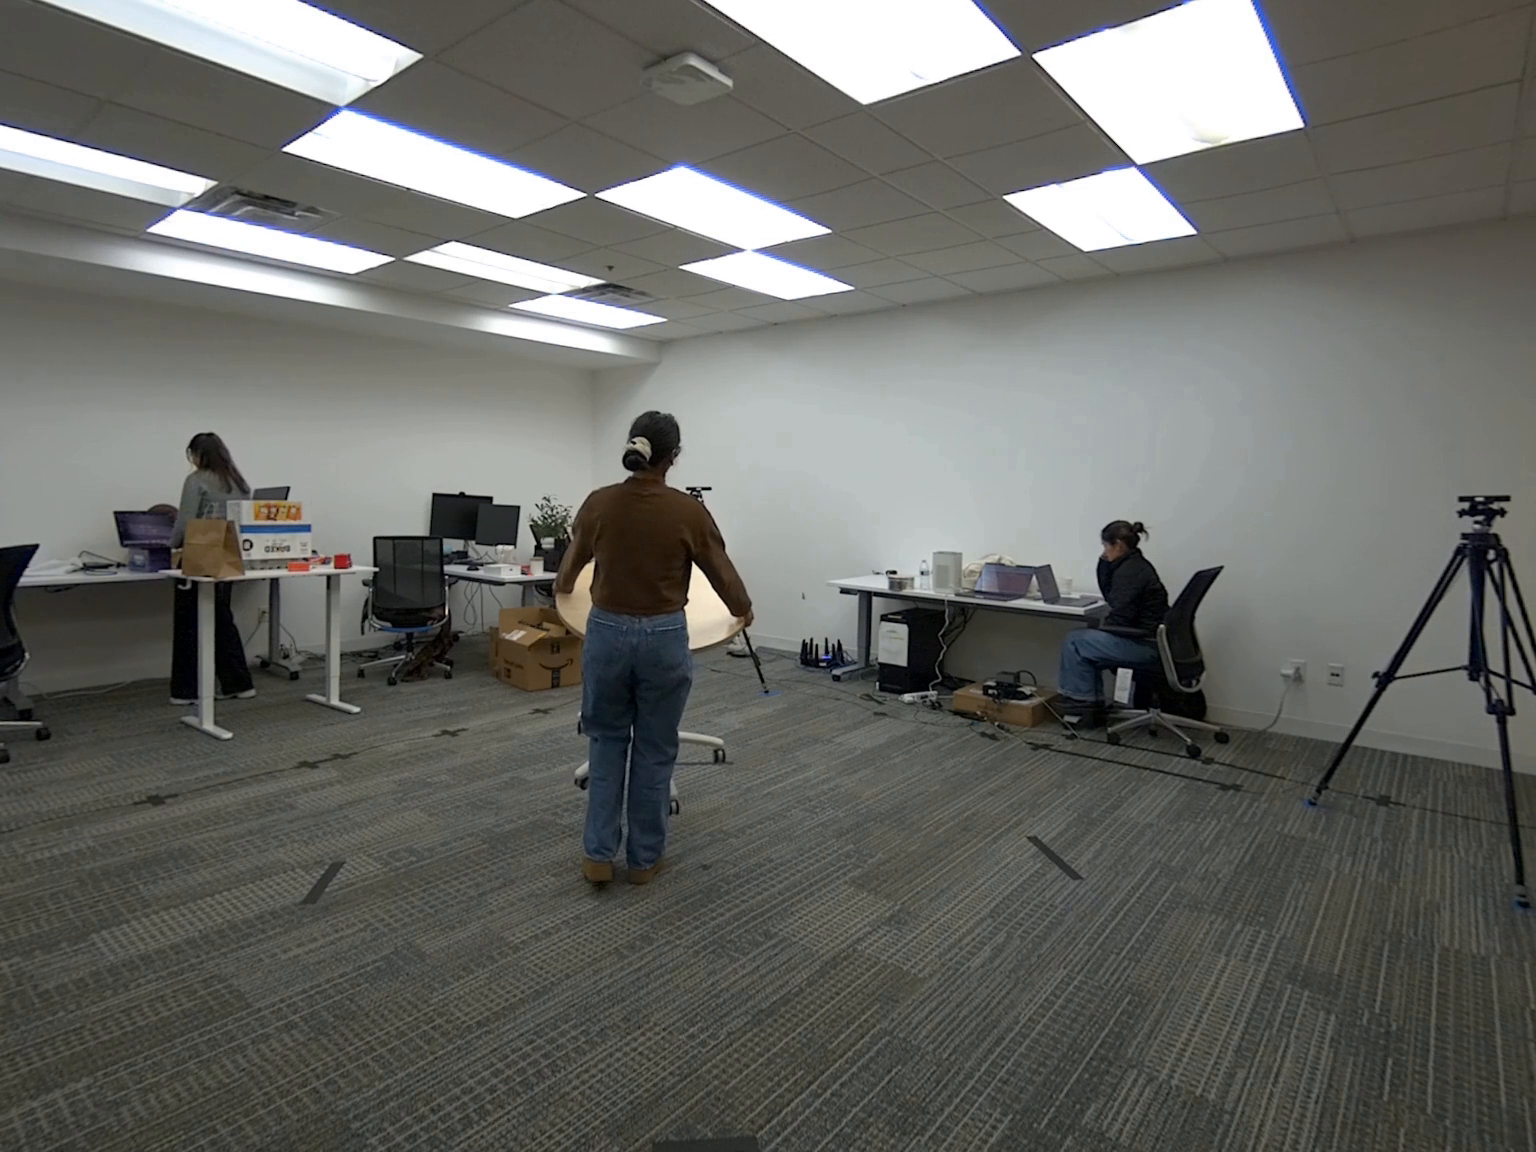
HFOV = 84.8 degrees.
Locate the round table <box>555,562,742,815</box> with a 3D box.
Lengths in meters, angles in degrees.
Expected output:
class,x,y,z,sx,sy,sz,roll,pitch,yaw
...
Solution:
class,x,y,z,sx,sy,sz,roll,pitch,yaw
round table,-0.518,0.431,3.549,0.782,0.771,0.804,5,26,-4
